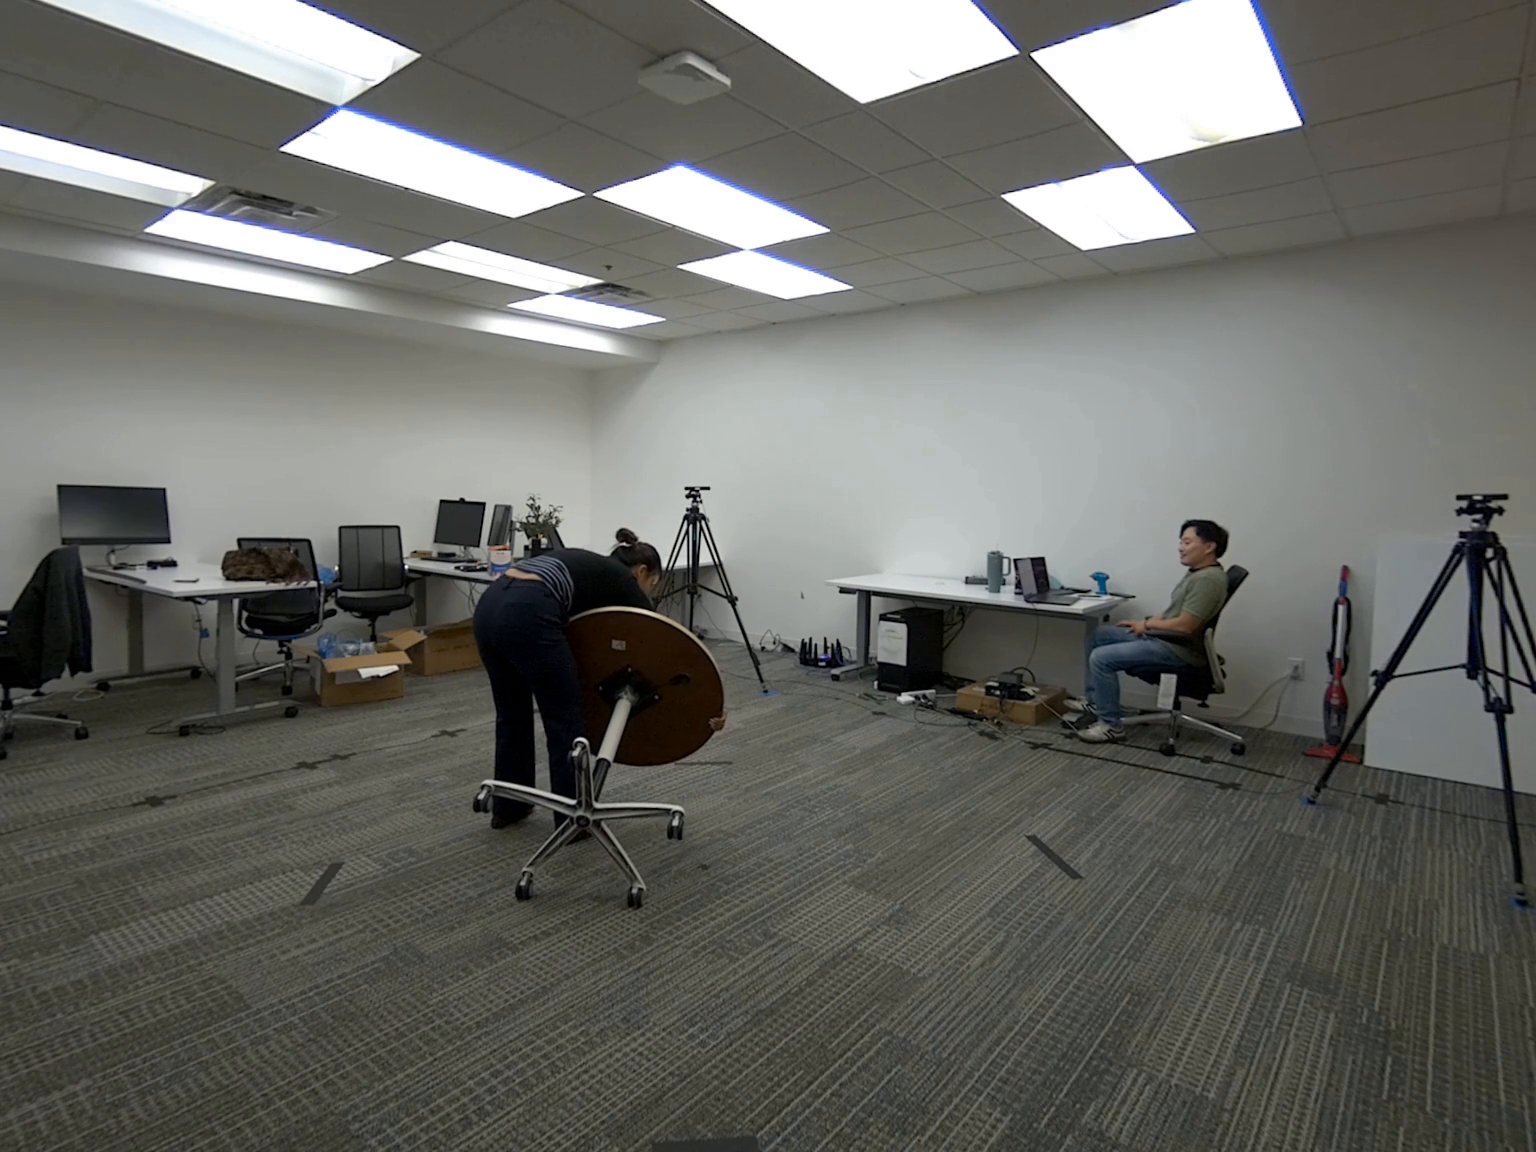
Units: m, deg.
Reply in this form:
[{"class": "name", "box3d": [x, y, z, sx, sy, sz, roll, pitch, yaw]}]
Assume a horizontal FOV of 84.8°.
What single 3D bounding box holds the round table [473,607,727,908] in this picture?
[{"class": "round table", "box3d": [-0.587, 0.646, 3.042, 0.770, 0.745, 0.808, 1, 28, 6]}]
